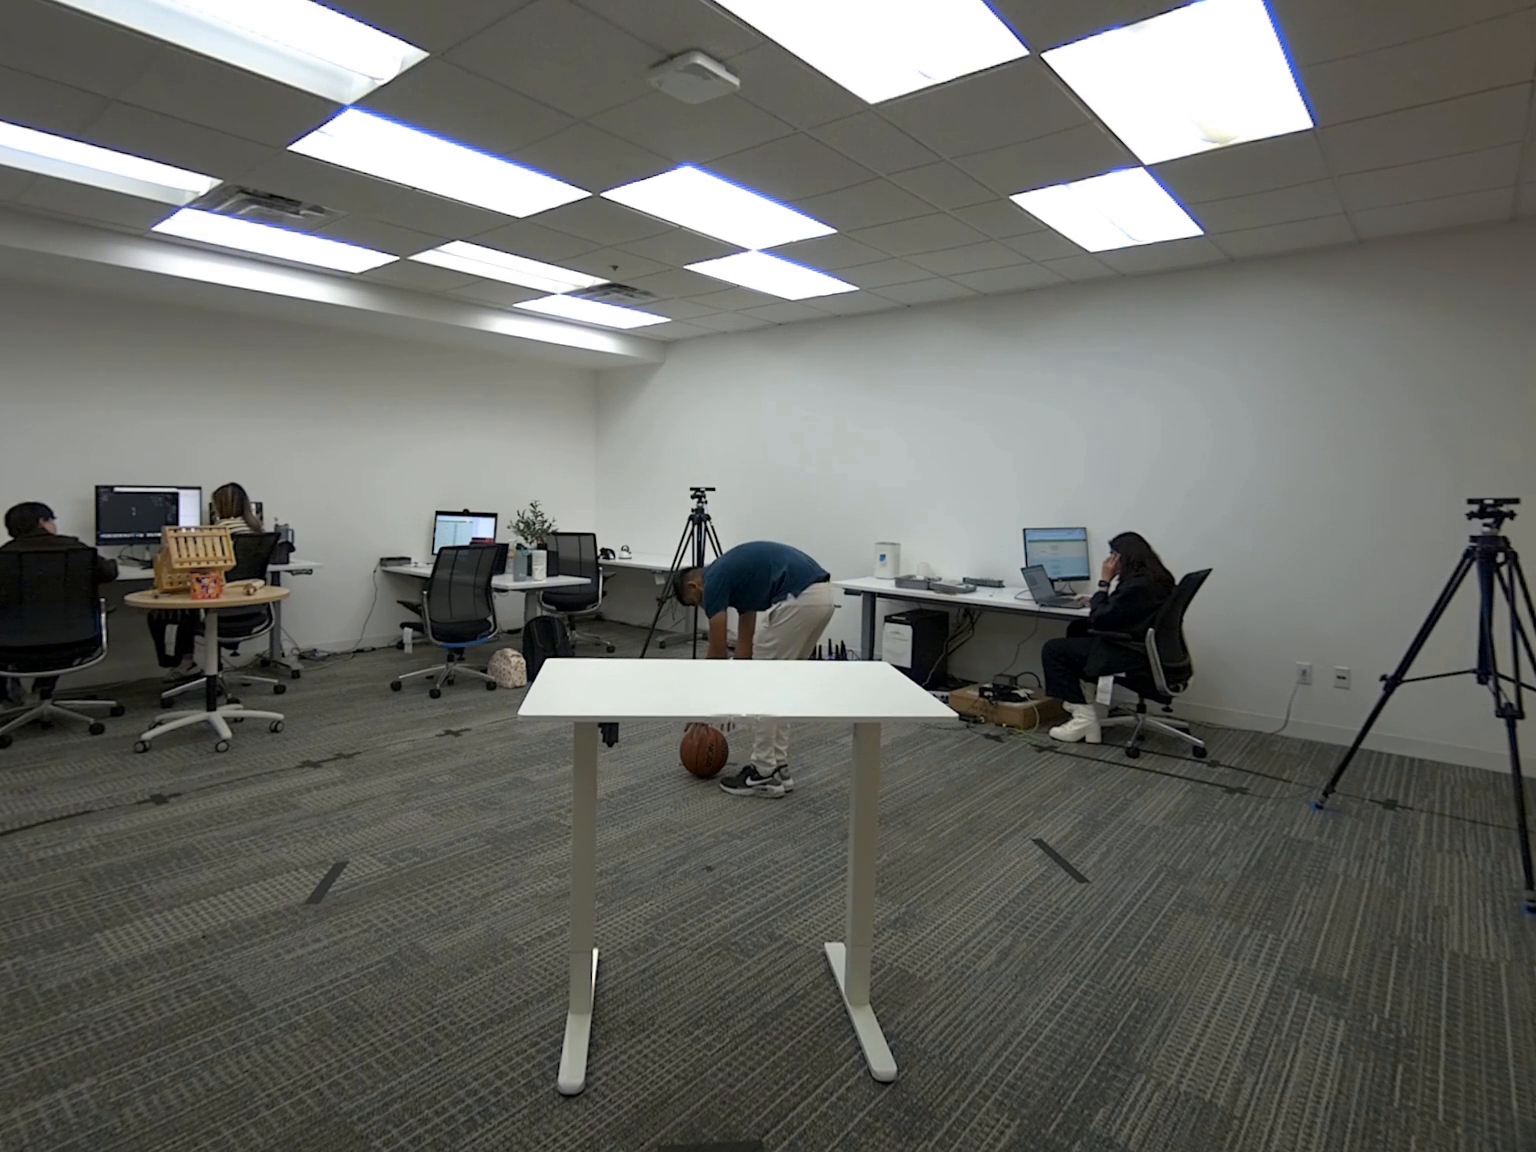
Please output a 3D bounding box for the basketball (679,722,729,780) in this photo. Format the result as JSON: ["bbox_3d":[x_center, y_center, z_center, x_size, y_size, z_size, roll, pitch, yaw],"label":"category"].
[{"bbox_3d":[-0.318,0.842,4.128,0.235,0.235,0.237,1,4,-2],"label":"basketball"}]
